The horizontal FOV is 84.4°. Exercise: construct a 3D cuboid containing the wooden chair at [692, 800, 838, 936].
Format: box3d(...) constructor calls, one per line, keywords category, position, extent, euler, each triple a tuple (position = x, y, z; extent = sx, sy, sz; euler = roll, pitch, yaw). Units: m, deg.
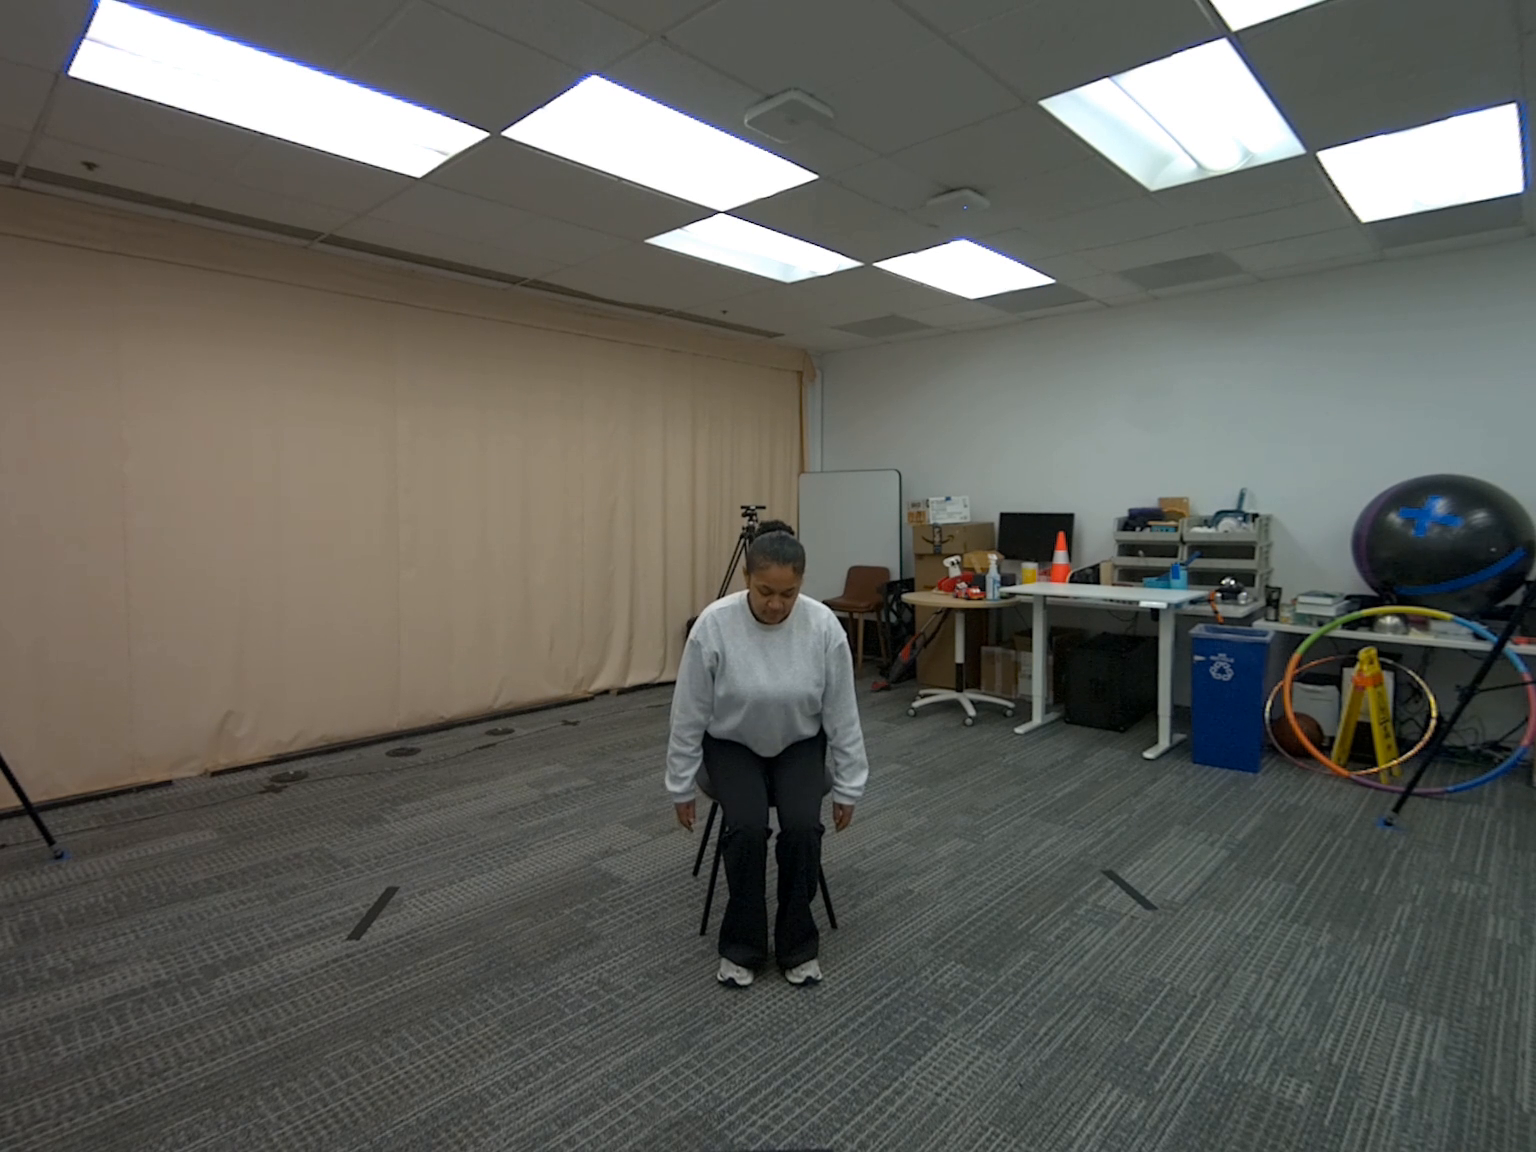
box3d(category="wooden chair", position=(-0.022, 0.717, 2.932), extent=(0.475, 0.877, 0.527), euler=(0, 0, -8))
